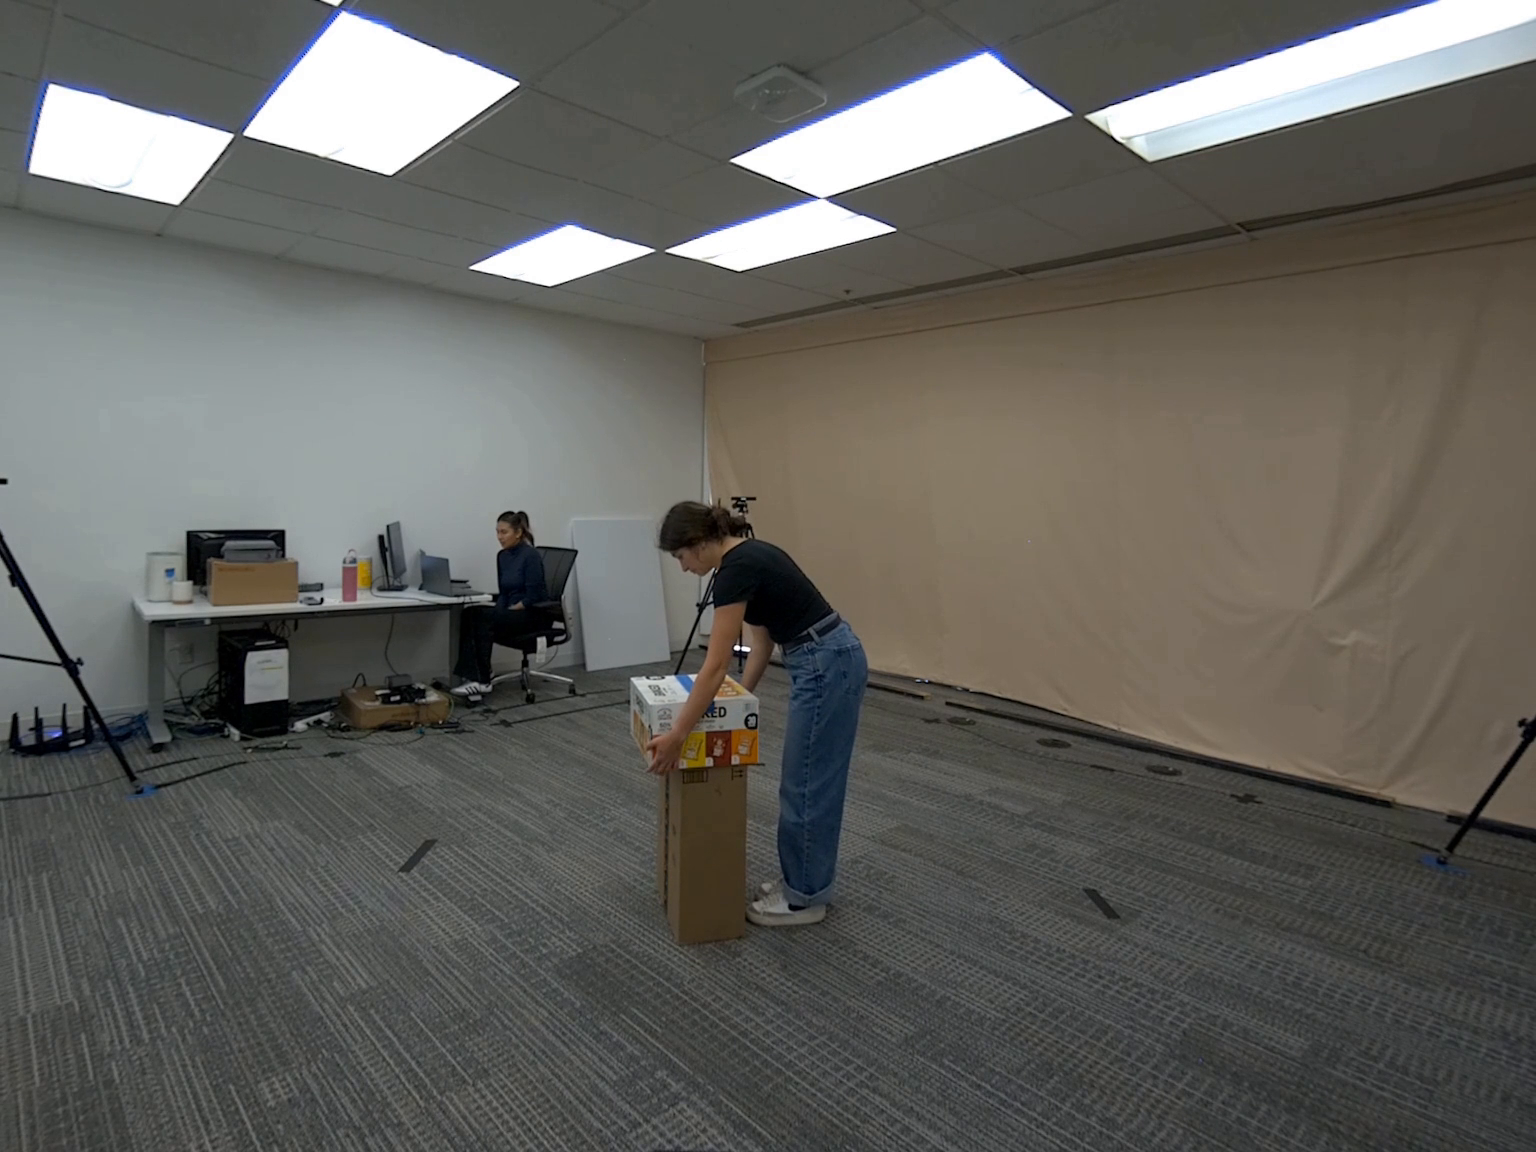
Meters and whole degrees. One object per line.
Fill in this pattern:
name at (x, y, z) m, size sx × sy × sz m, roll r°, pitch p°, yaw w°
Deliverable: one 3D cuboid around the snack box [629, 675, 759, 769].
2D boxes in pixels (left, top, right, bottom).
snack box at (-0.255, 0.465, 2.767) m, size 0.336 × 0.205 × 0.411 m, roll 0°, pitch 5°, yaw -17°
